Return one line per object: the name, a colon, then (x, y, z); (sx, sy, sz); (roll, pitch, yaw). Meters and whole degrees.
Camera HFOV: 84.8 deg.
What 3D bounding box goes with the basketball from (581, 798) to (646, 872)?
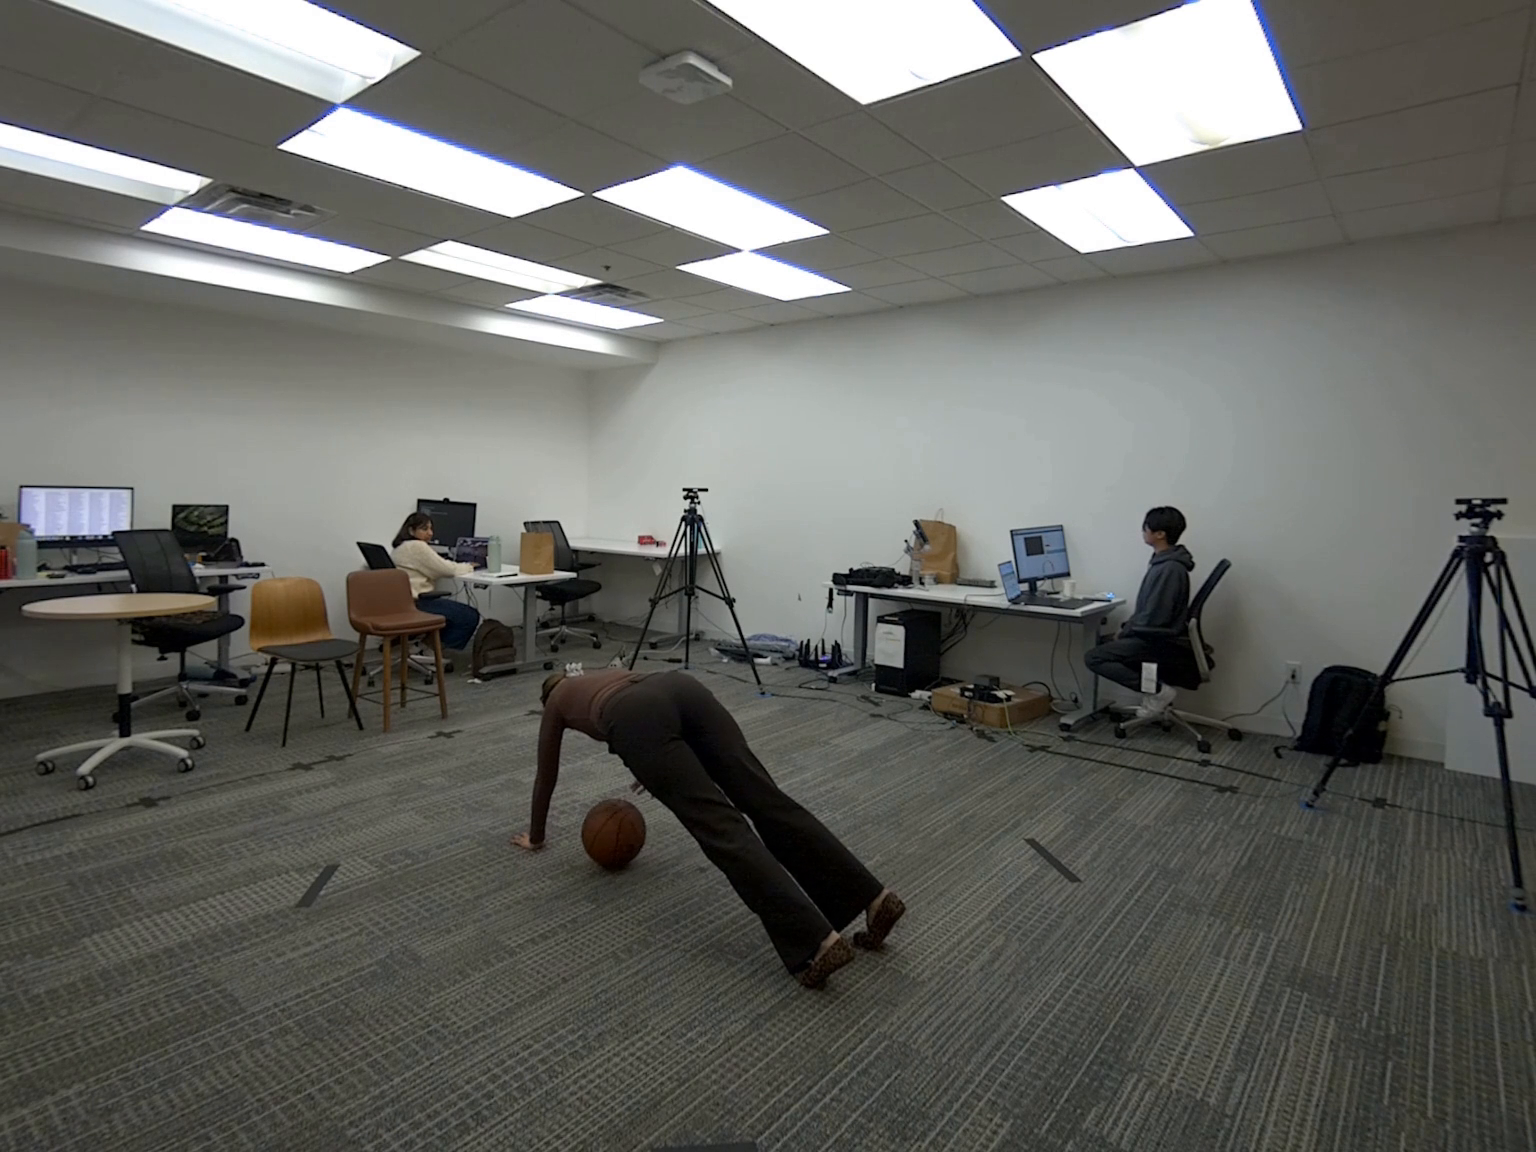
basketball: (-0.580, 0.940, 3.131); (0.236, 0.235, 0.237); (1, 4, -2)
